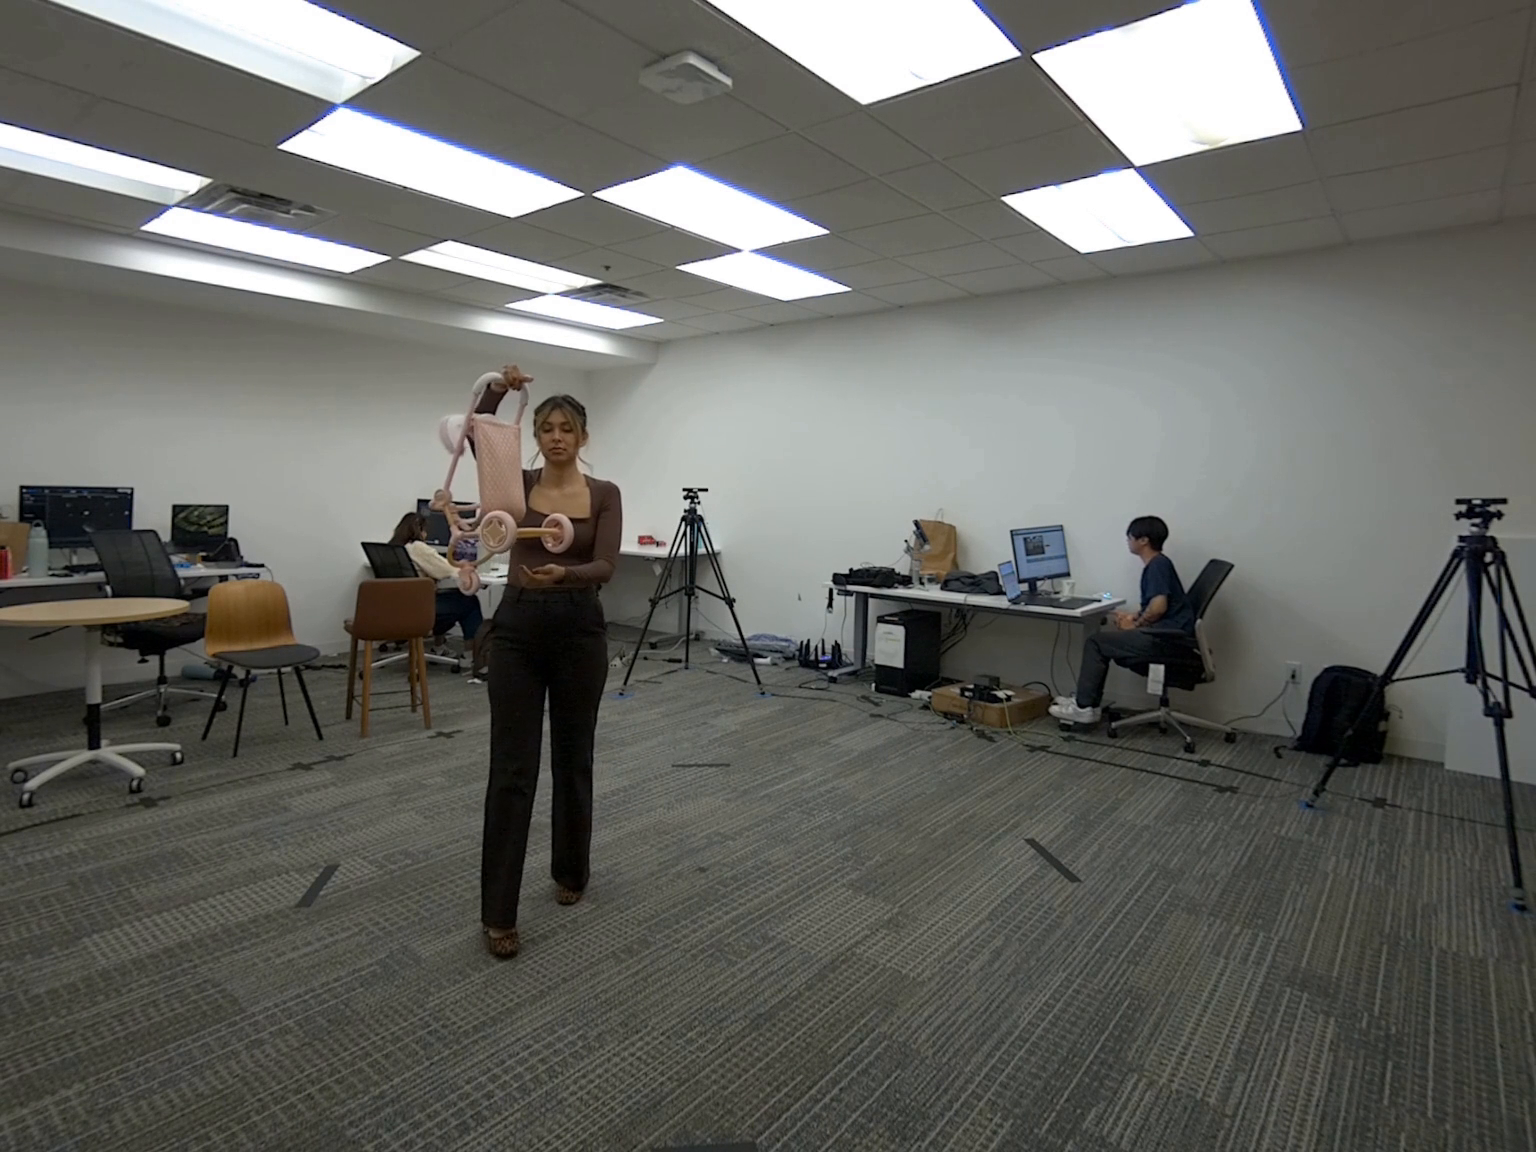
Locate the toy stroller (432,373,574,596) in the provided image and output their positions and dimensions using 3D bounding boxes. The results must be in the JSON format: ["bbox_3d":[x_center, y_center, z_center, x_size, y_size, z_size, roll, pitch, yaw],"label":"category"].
[{"bbox_3d":[-0.791,-0.240,2.343,0.347,0.540,0.274,-18,-7,28],"label":"toy stroller"}]
